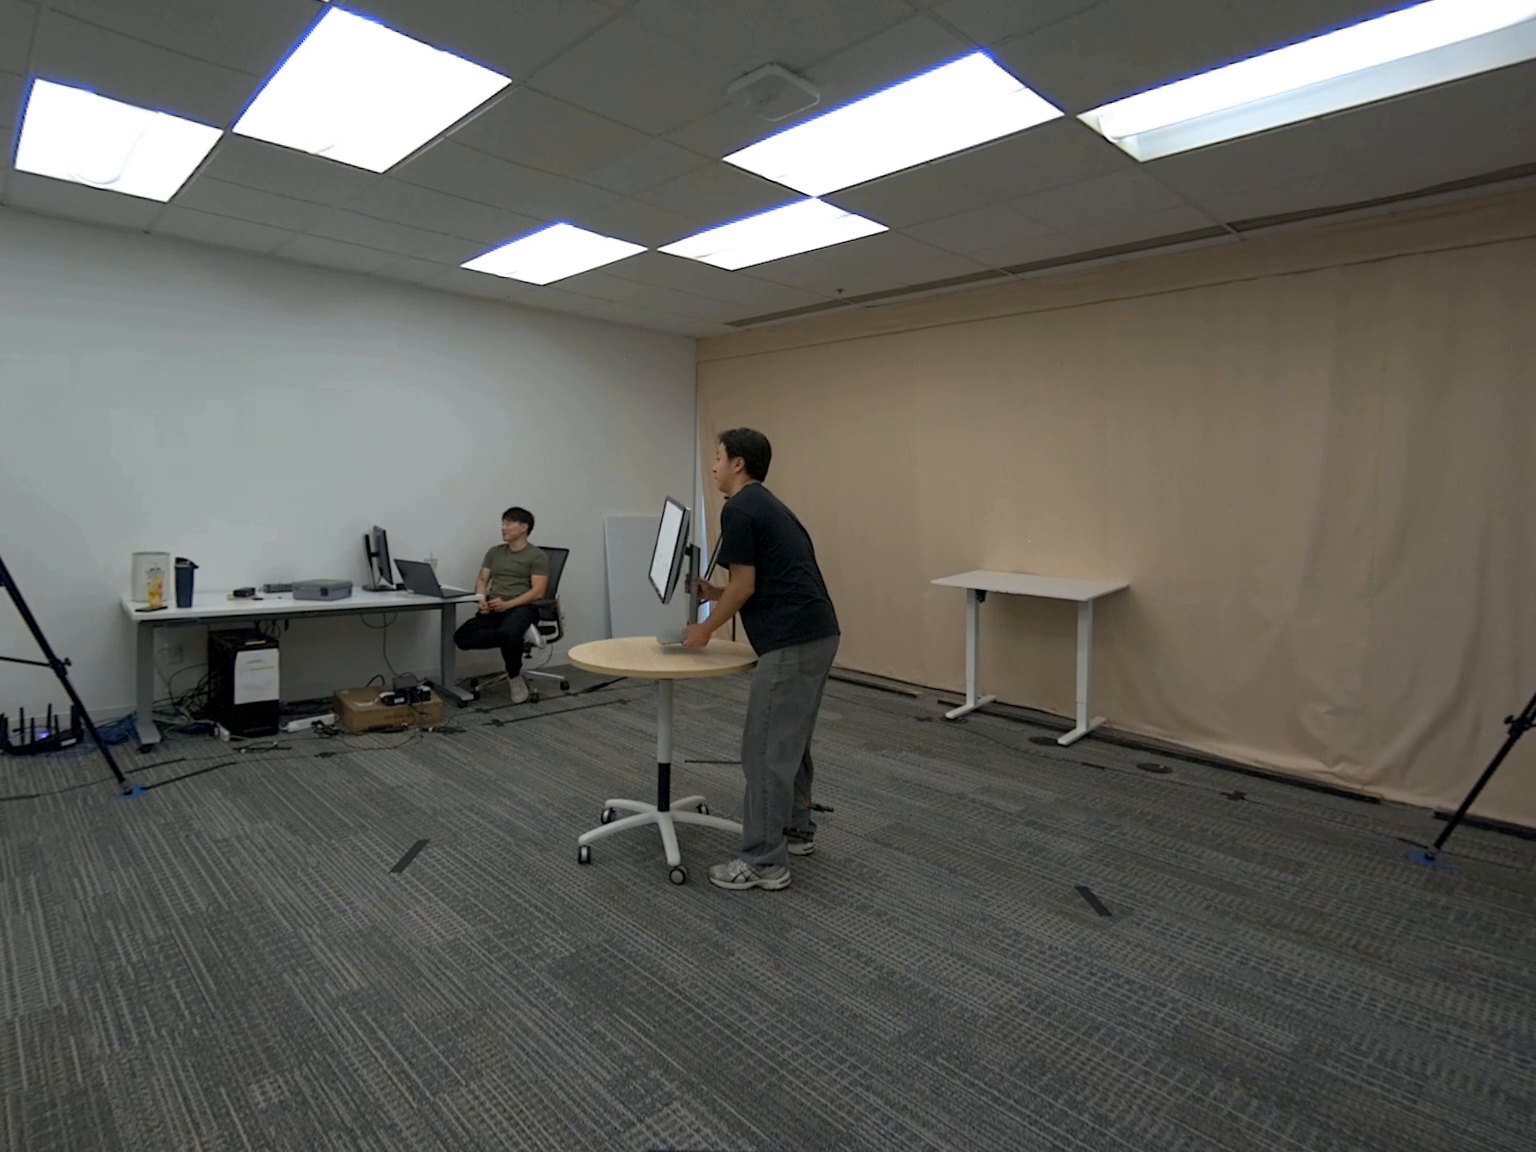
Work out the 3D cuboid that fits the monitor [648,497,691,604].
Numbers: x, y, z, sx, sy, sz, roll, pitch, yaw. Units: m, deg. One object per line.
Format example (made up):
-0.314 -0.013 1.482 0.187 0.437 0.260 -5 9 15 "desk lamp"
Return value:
-0.365 -0.023 3.344 0.221 0.562 0.569 -5 10 -9 "monitor"
